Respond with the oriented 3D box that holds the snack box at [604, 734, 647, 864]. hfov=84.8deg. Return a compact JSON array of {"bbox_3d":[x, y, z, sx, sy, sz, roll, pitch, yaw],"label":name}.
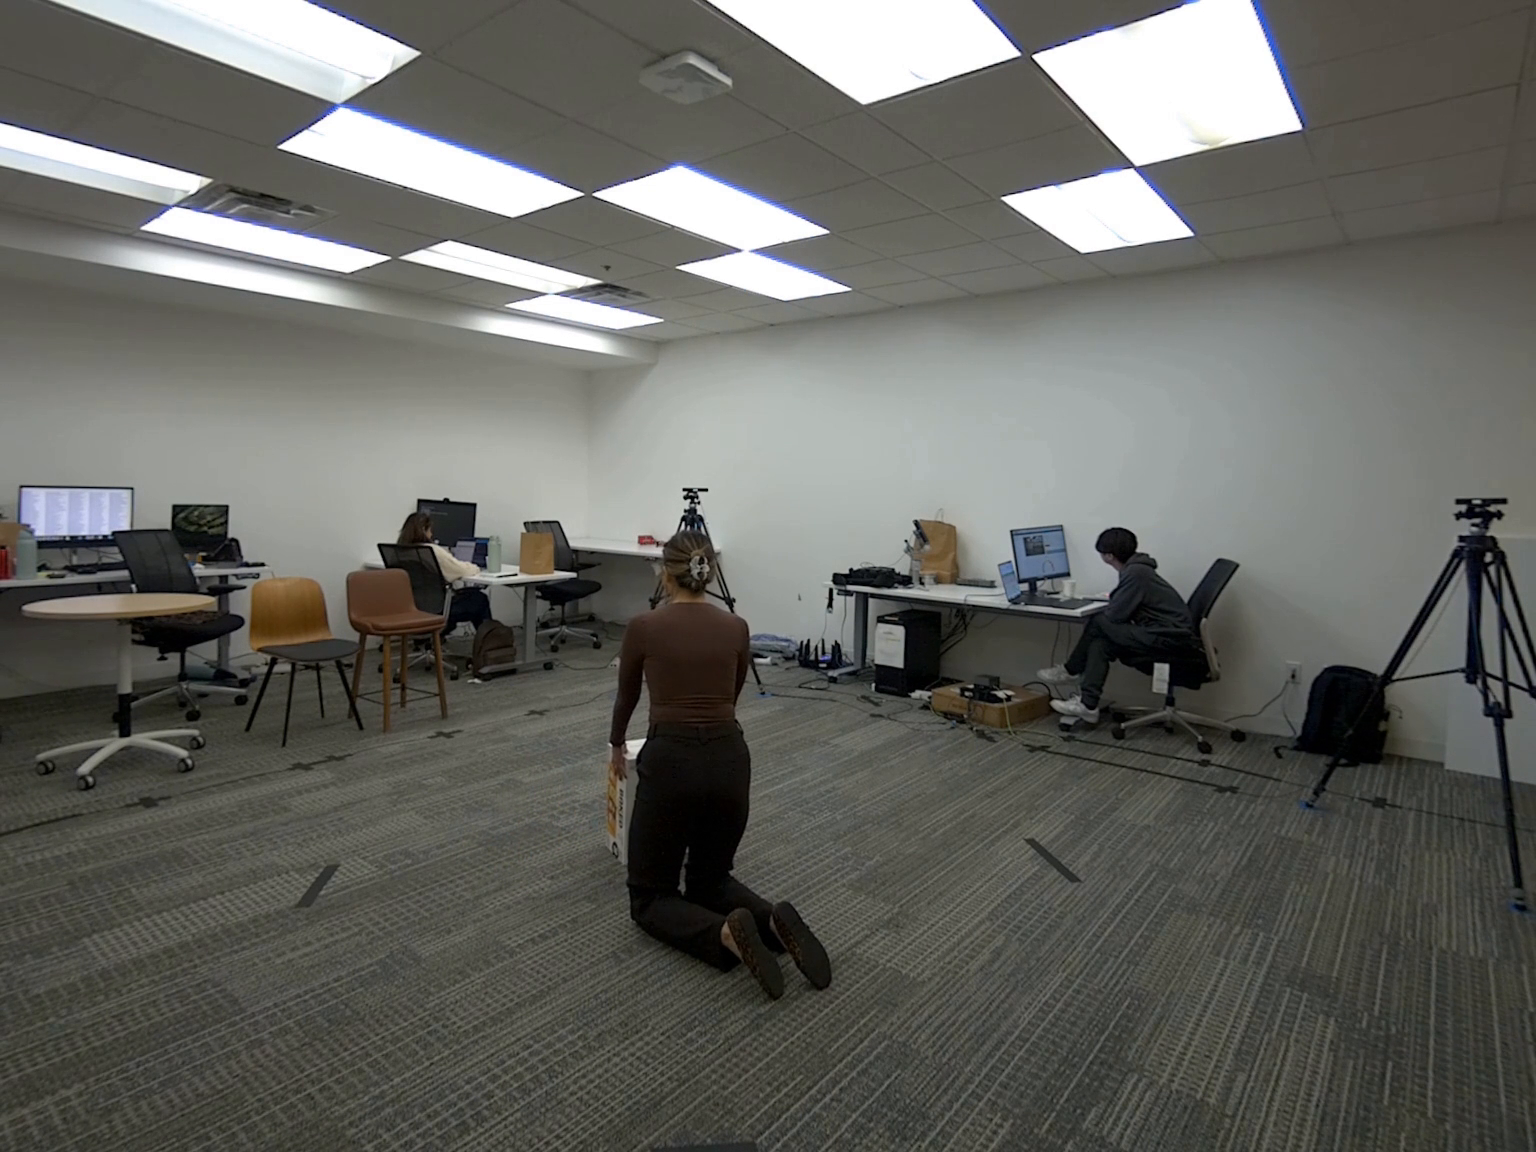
[{"bbox_3d":[-0.437,0.843,3.270,0.331,0.404,0.212,-1,5,-30],"label":"snack box"}]
